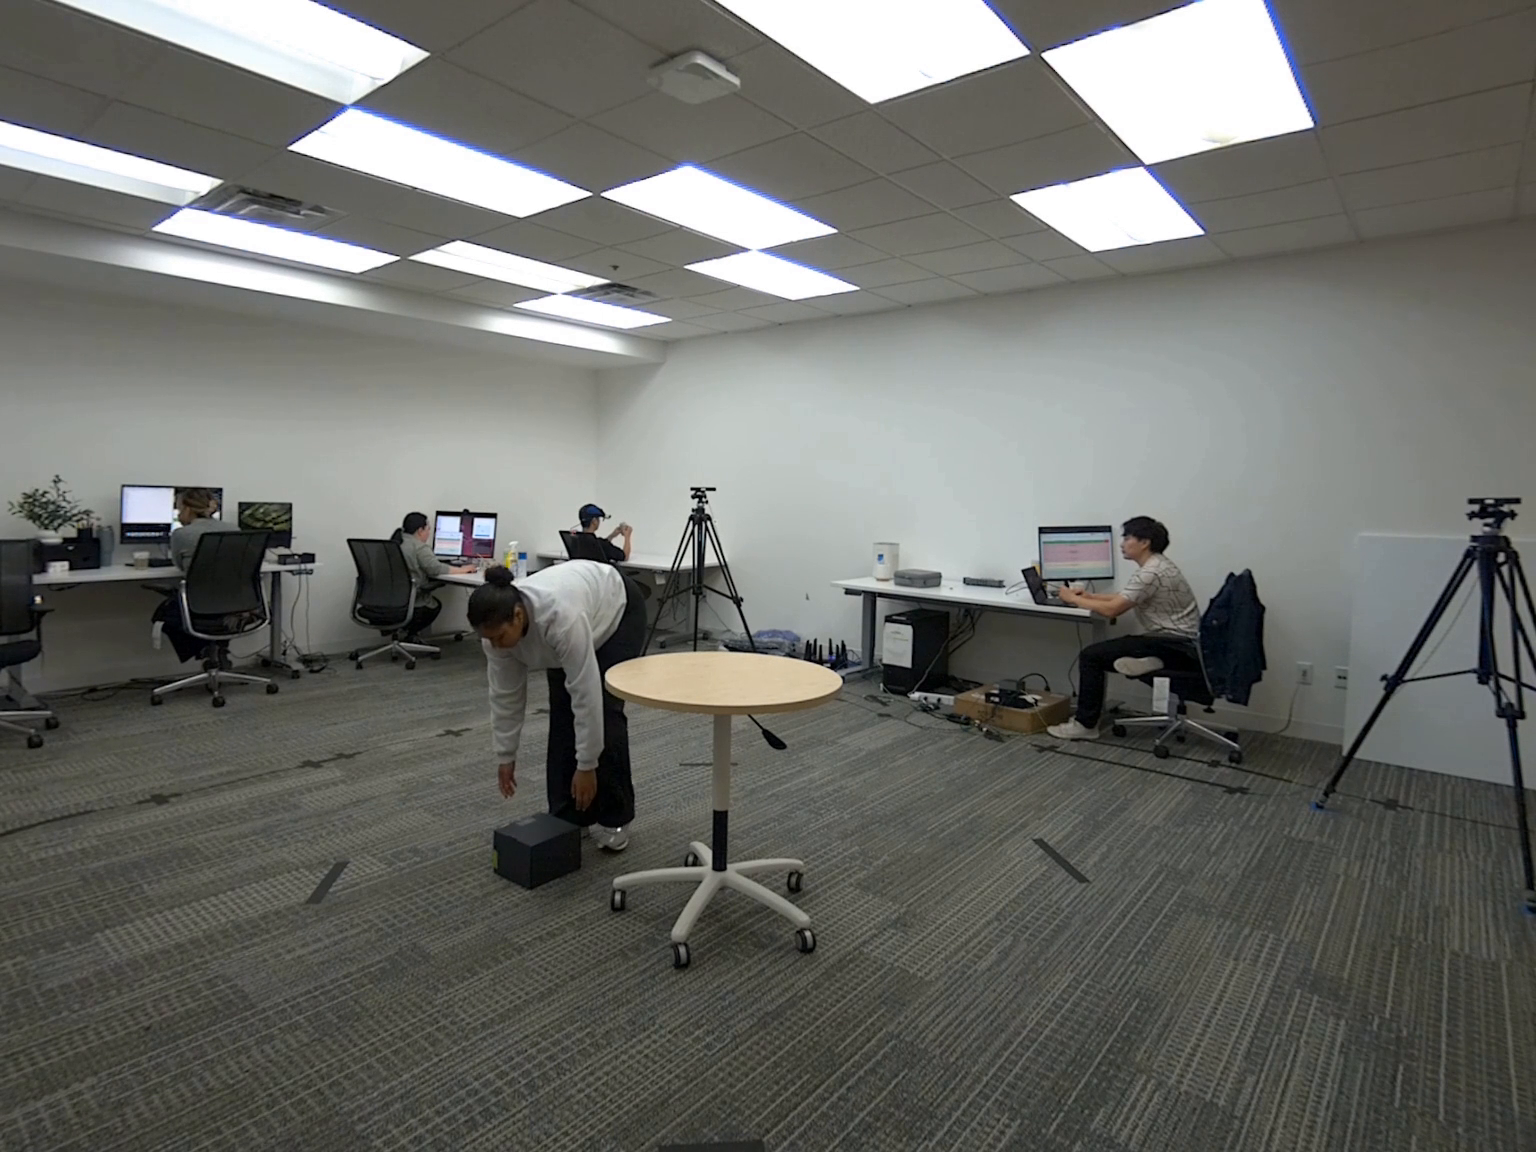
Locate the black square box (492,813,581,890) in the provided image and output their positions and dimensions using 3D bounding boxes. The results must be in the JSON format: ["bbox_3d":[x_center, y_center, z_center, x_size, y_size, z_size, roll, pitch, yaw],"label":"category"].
[{"bbox_3d":[-0.842,0.977,3.056,0.224,0.155,0.221,4,7,37],"label":"black square box"}]
